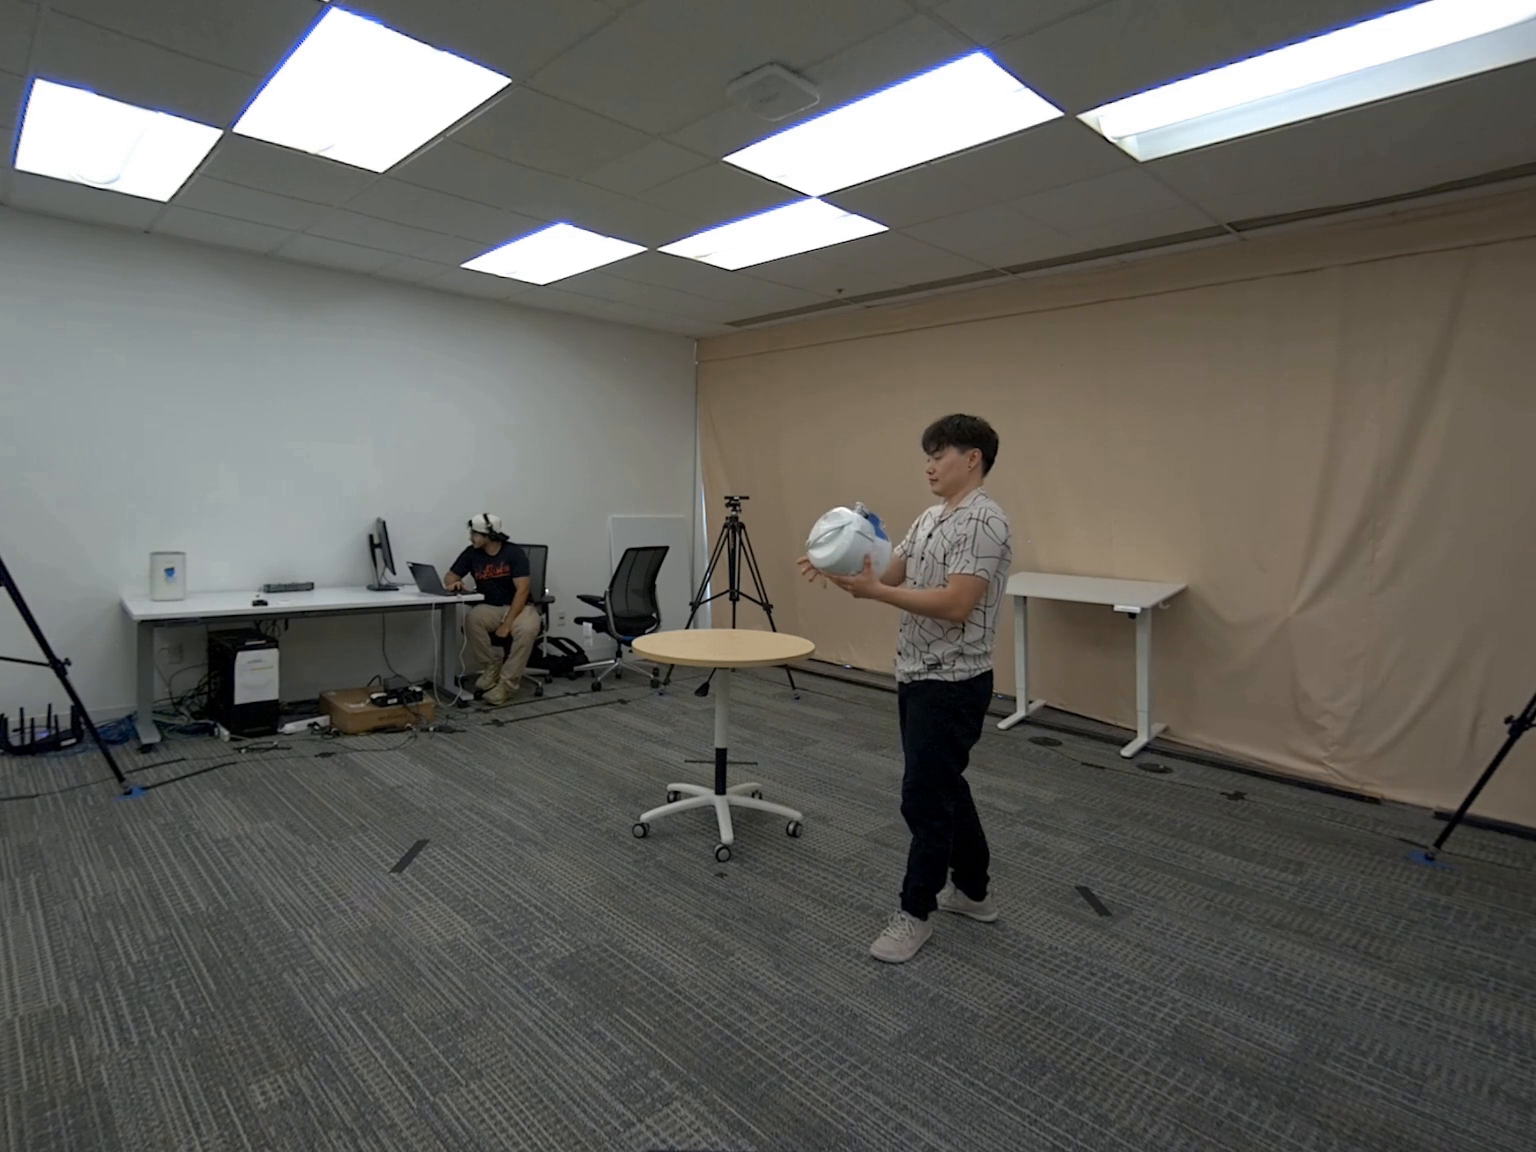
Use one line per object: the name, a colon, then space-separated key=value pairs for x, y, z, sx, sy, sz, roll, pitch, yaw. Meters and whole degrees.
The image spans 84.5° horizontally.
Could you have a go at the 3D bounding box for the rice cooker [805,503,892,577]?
rice cooker: x=0.238 y=-0.084 z=2.599 sx=0.226 sy=0.222 sz=0.222 roll=30 pitch=-47 yaw=-32
